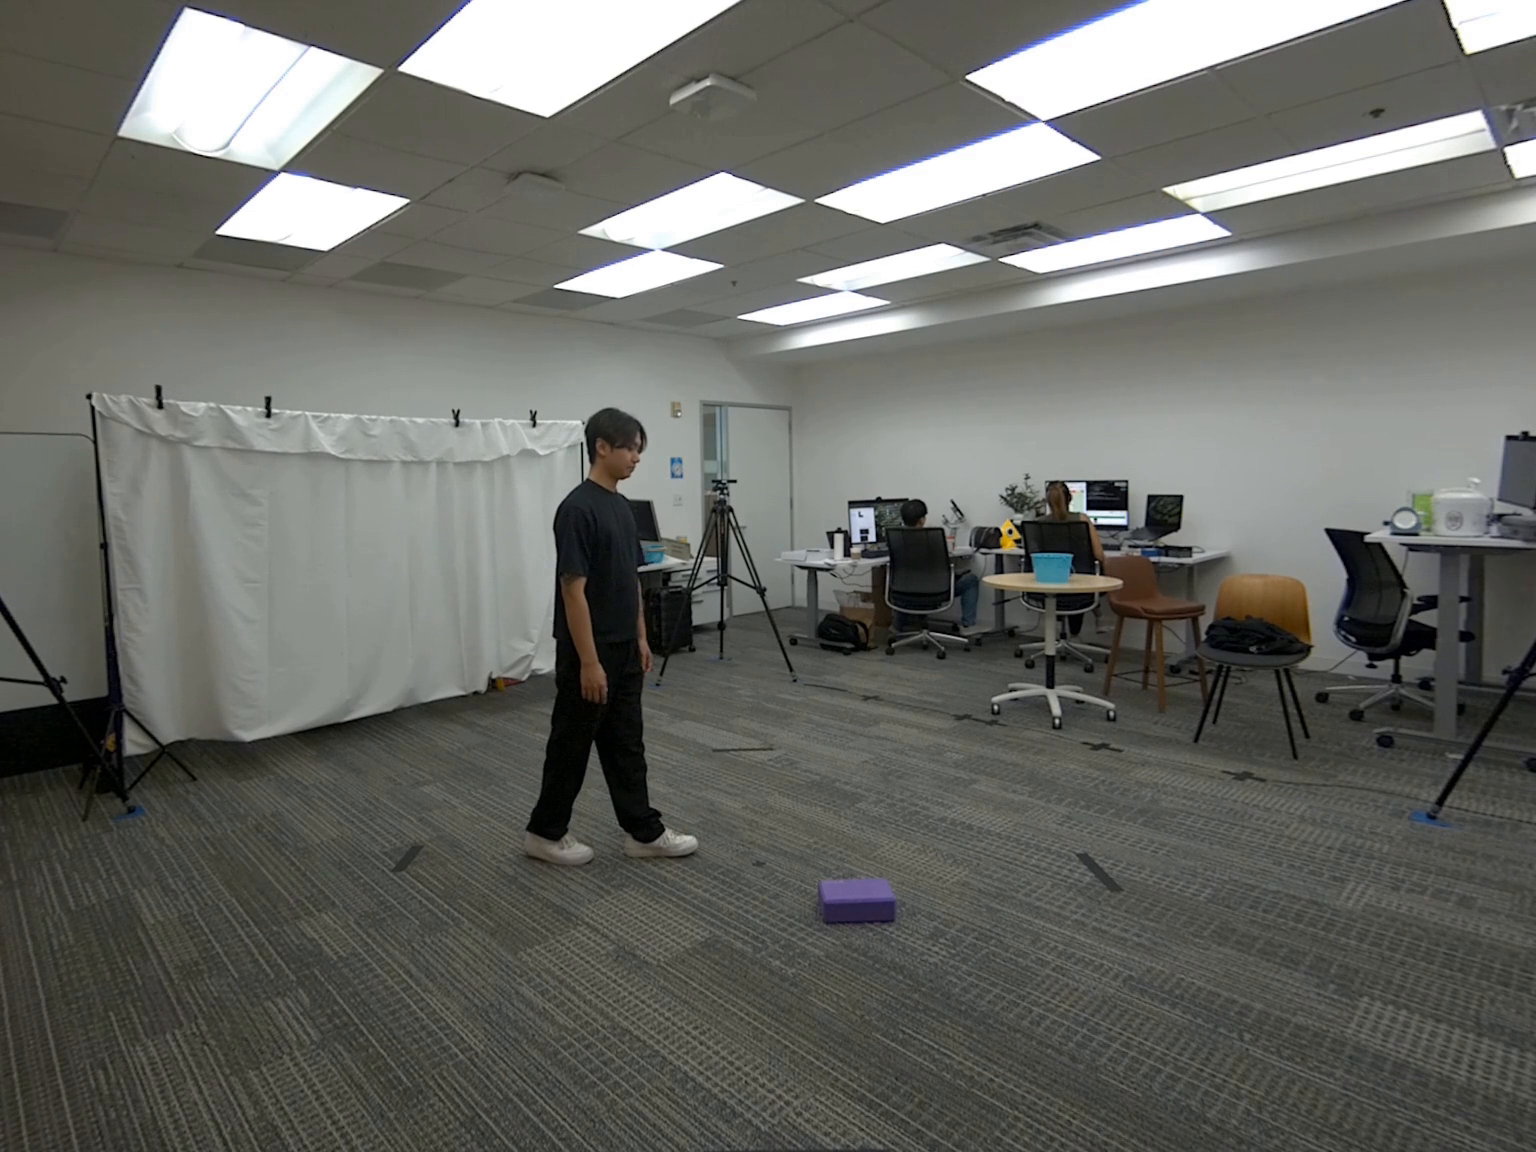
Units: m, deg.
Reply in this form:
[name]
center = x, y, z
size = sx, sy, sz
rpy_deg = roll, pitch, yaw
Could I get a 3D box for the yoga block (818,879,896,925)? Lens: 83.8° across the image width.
[yoga block]
center = 0.291, 1.043, 2.745
size = 0.229, 0.076, 0.150
rpy_deg = 0, 5, -2
